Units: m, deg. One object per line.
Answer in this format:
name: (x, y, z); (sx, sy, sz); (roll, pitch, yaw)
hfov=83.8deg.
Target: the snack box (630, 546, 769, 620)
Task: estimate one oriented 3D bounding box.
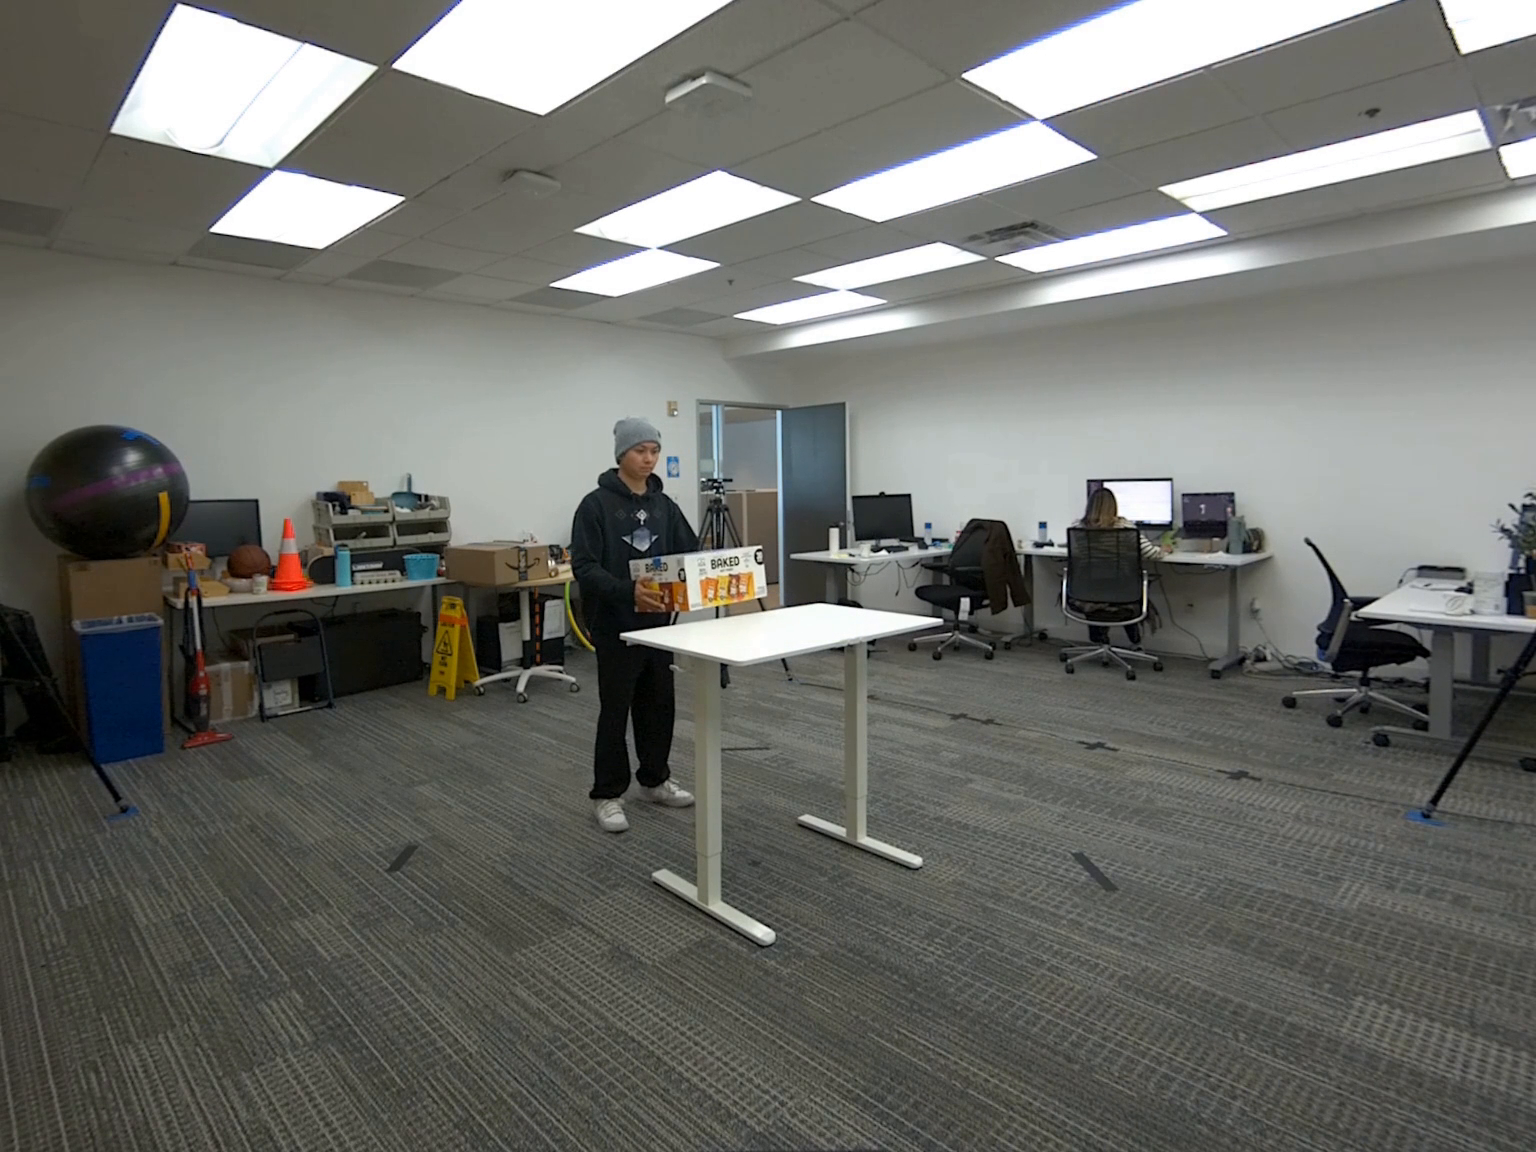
snack box: (-0.272, 0.013, 3.343); (0.395, 0.205, 0.350); (-9, 4, -44)
